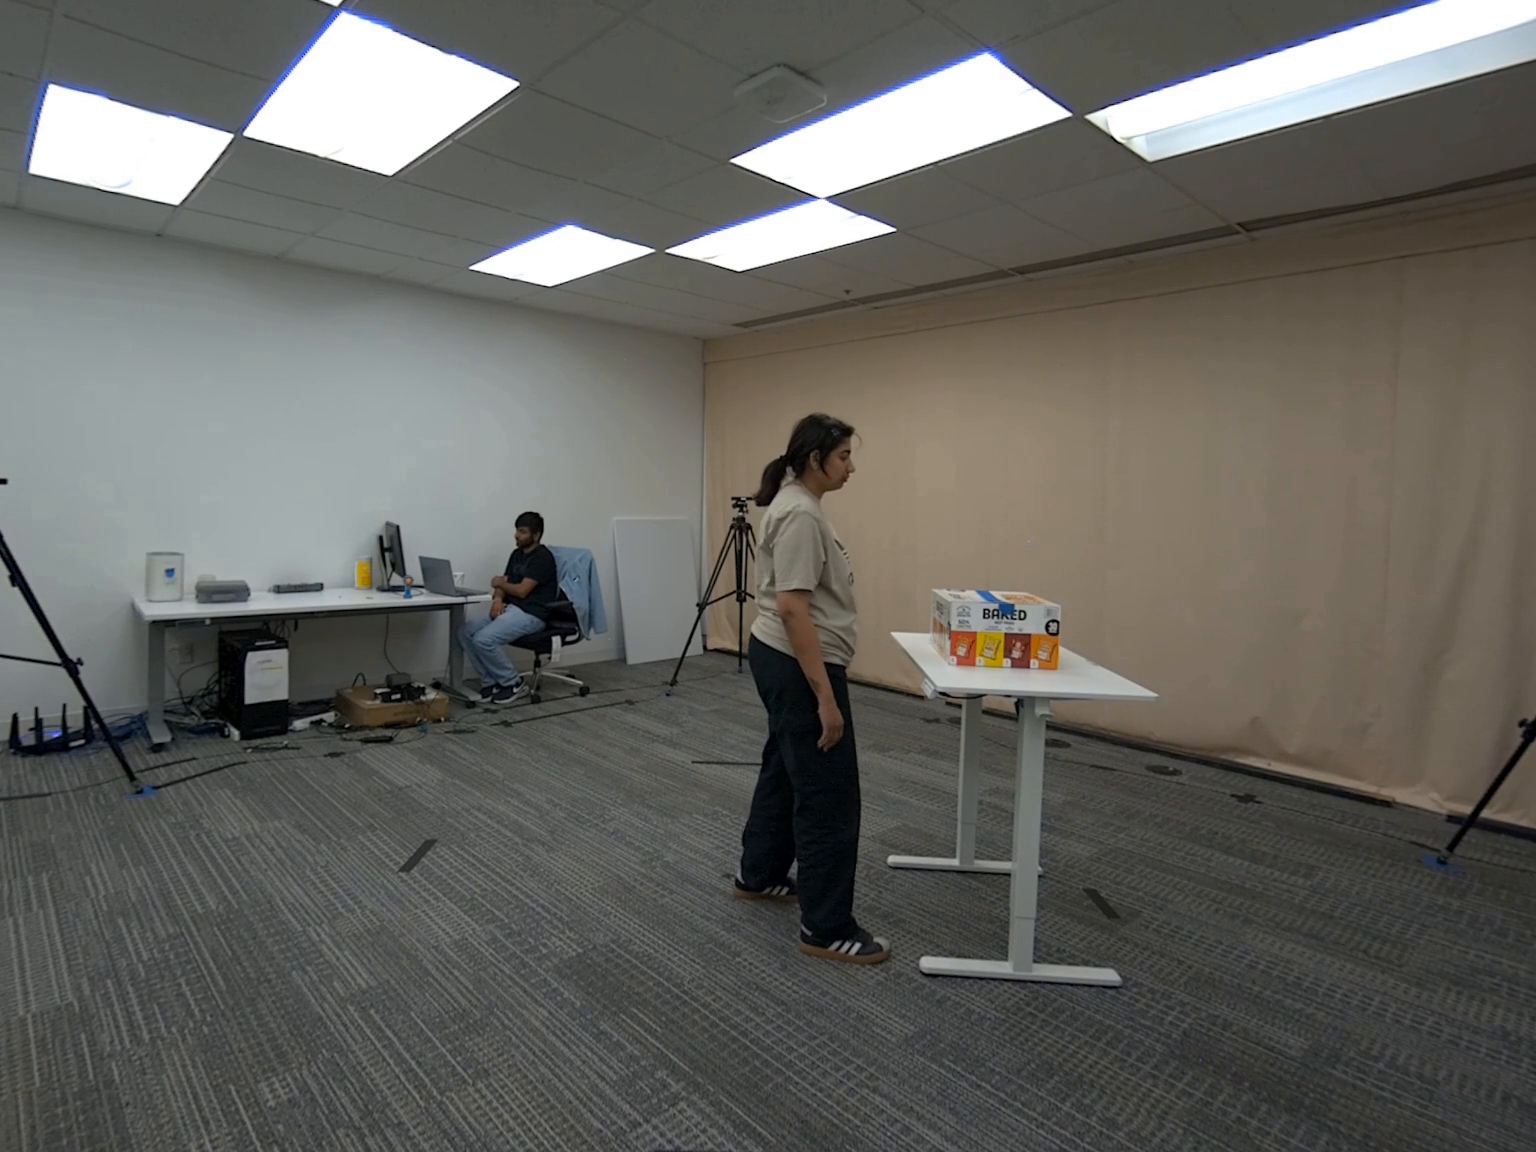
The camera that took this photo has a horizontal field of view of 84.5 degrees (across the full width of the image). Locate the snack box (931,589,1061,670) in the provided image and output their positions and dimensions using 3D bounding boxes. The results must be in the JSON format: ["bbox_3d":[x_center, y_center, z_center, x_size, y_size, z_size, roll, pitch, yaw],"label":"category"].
[{"bbox_3d":[0.743,0.172,2.838,0.341,0.205,0.405,3,4,3],"label":"snack box"}]
